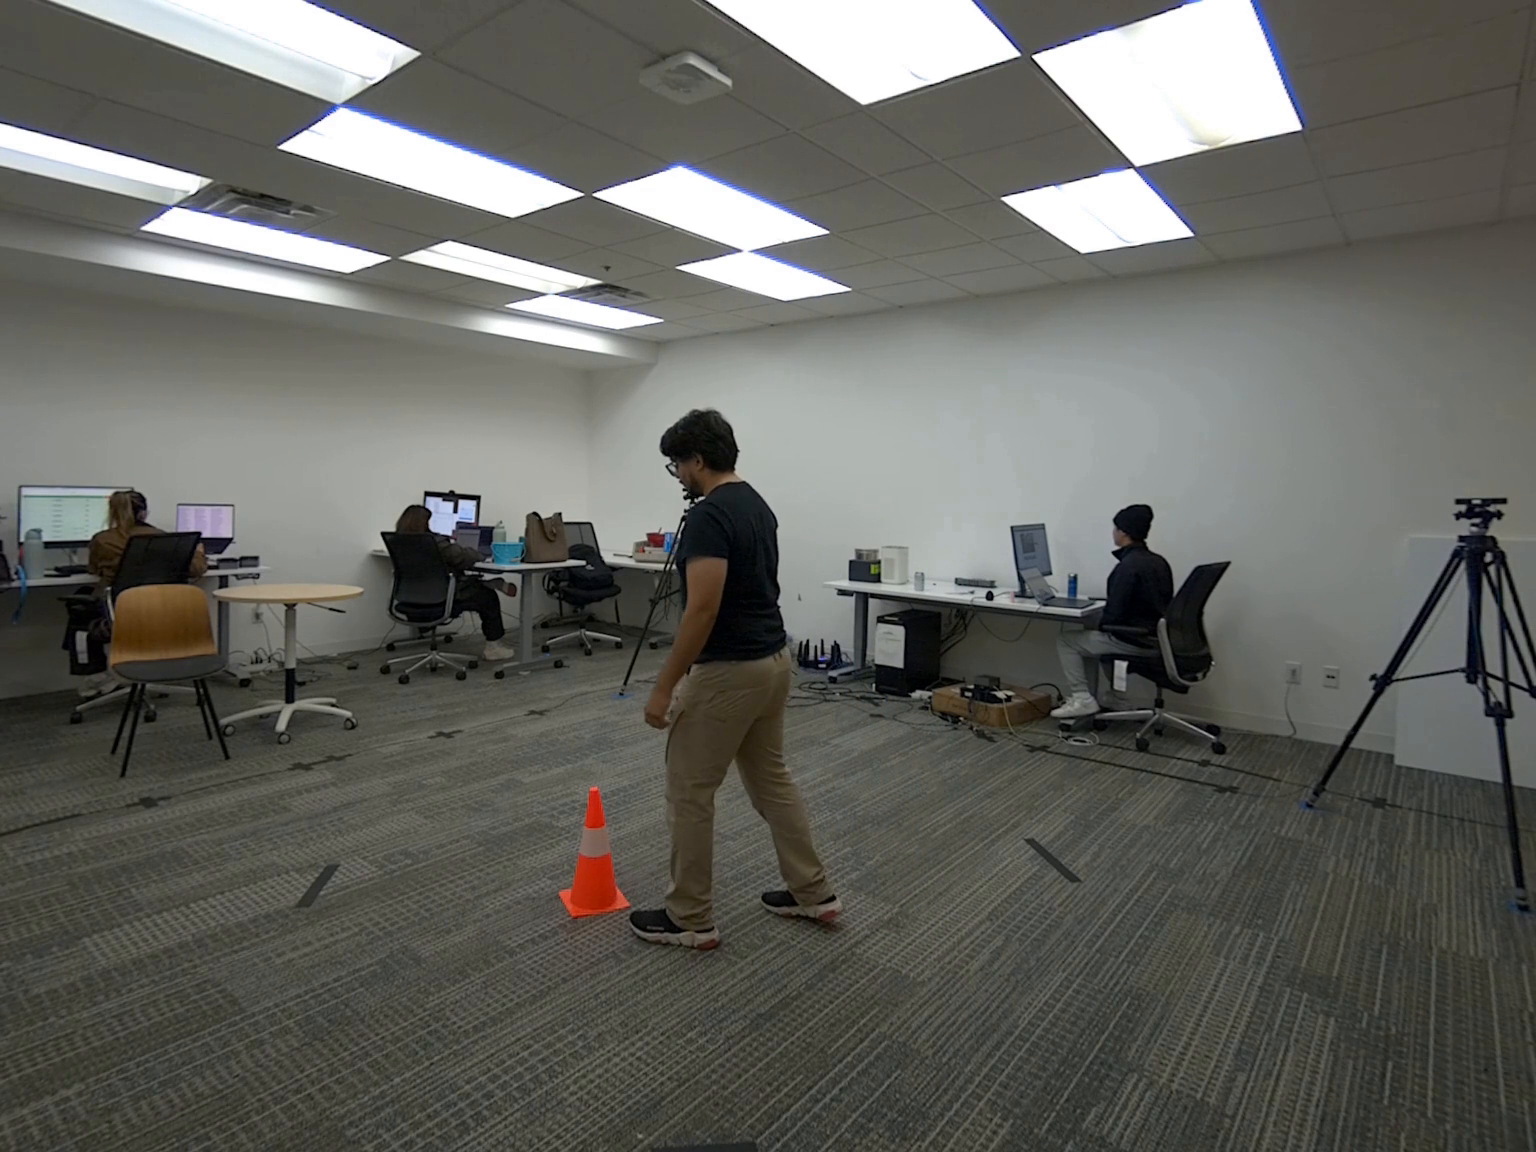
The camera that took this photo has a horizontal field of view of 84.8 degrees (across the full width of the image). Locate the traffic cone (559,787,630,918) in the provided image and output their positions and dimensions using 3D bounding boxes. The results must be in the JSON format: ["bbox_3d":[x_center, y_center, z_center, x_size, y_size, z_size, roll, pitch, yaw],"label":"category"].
[{"bbox_3d":[-0.592,0.903,2.849,0.198,0.382,0.211,-1,6,-30],"label":"traffic cone"}]
